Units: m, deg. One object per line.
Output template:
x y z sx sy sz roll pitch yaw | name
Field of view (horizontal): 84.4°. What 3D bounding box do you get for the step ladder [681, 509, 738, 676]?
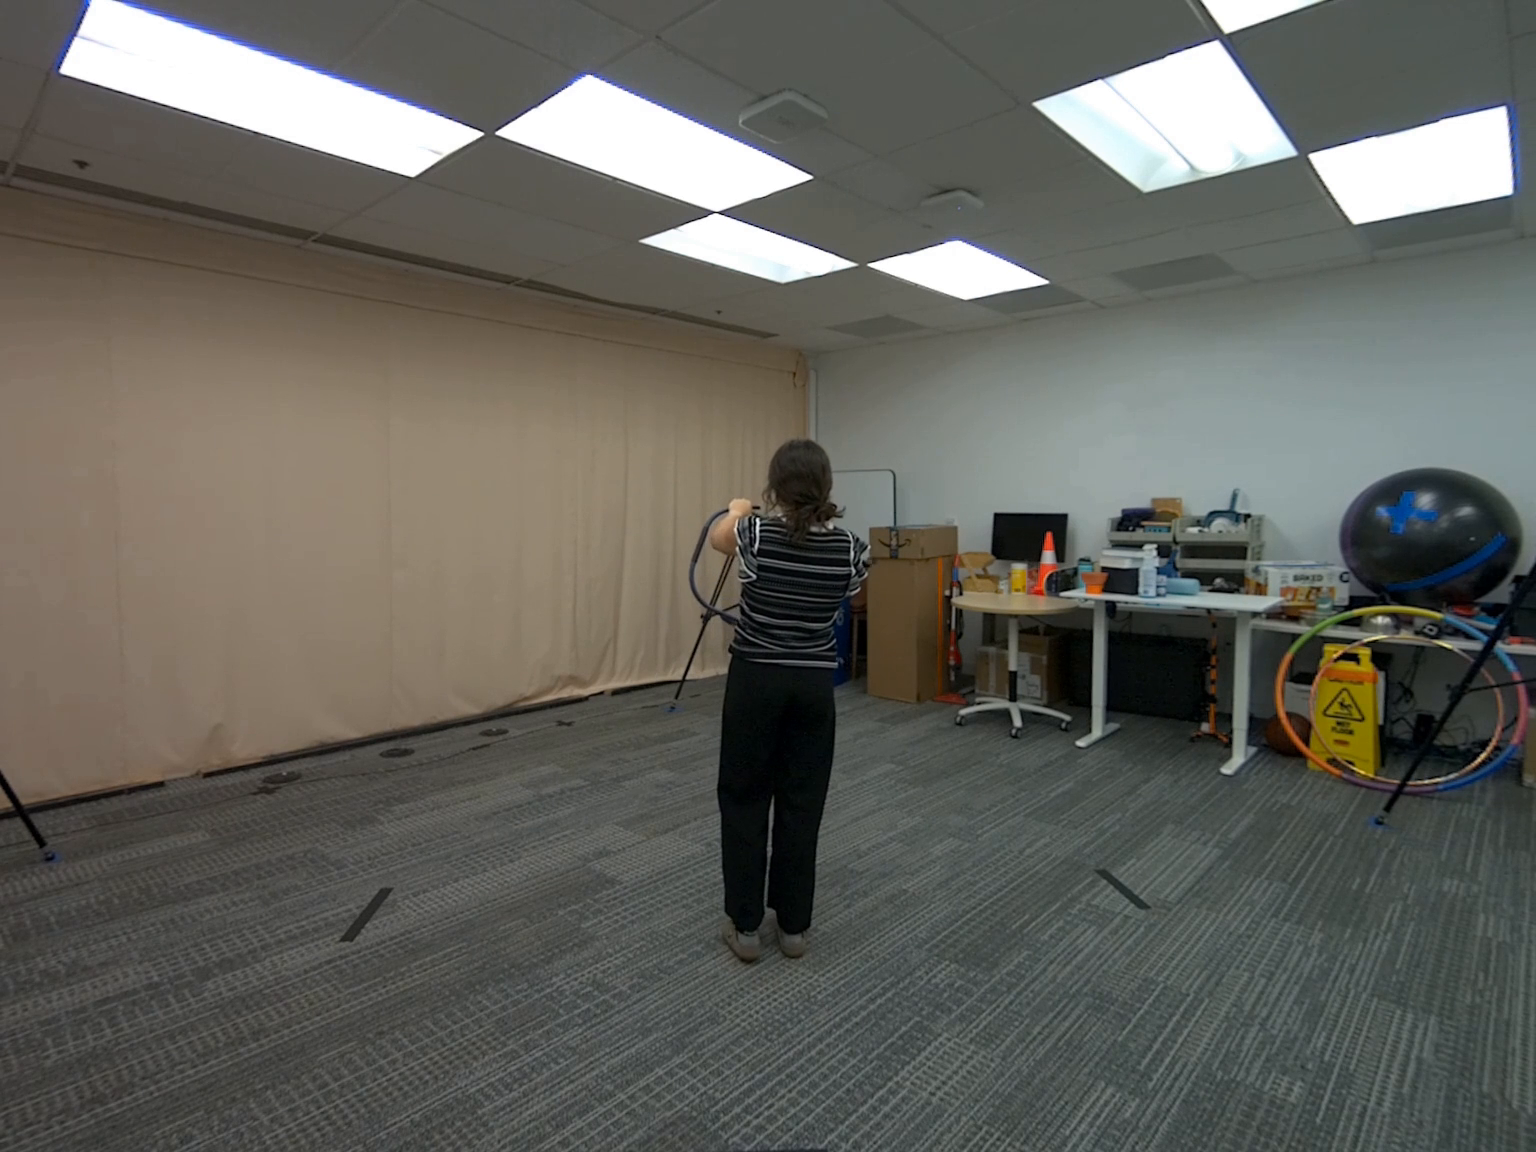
0.009 0.007 3.109 0.586 0.432 0.360 33 -21 -34 | step ladder
